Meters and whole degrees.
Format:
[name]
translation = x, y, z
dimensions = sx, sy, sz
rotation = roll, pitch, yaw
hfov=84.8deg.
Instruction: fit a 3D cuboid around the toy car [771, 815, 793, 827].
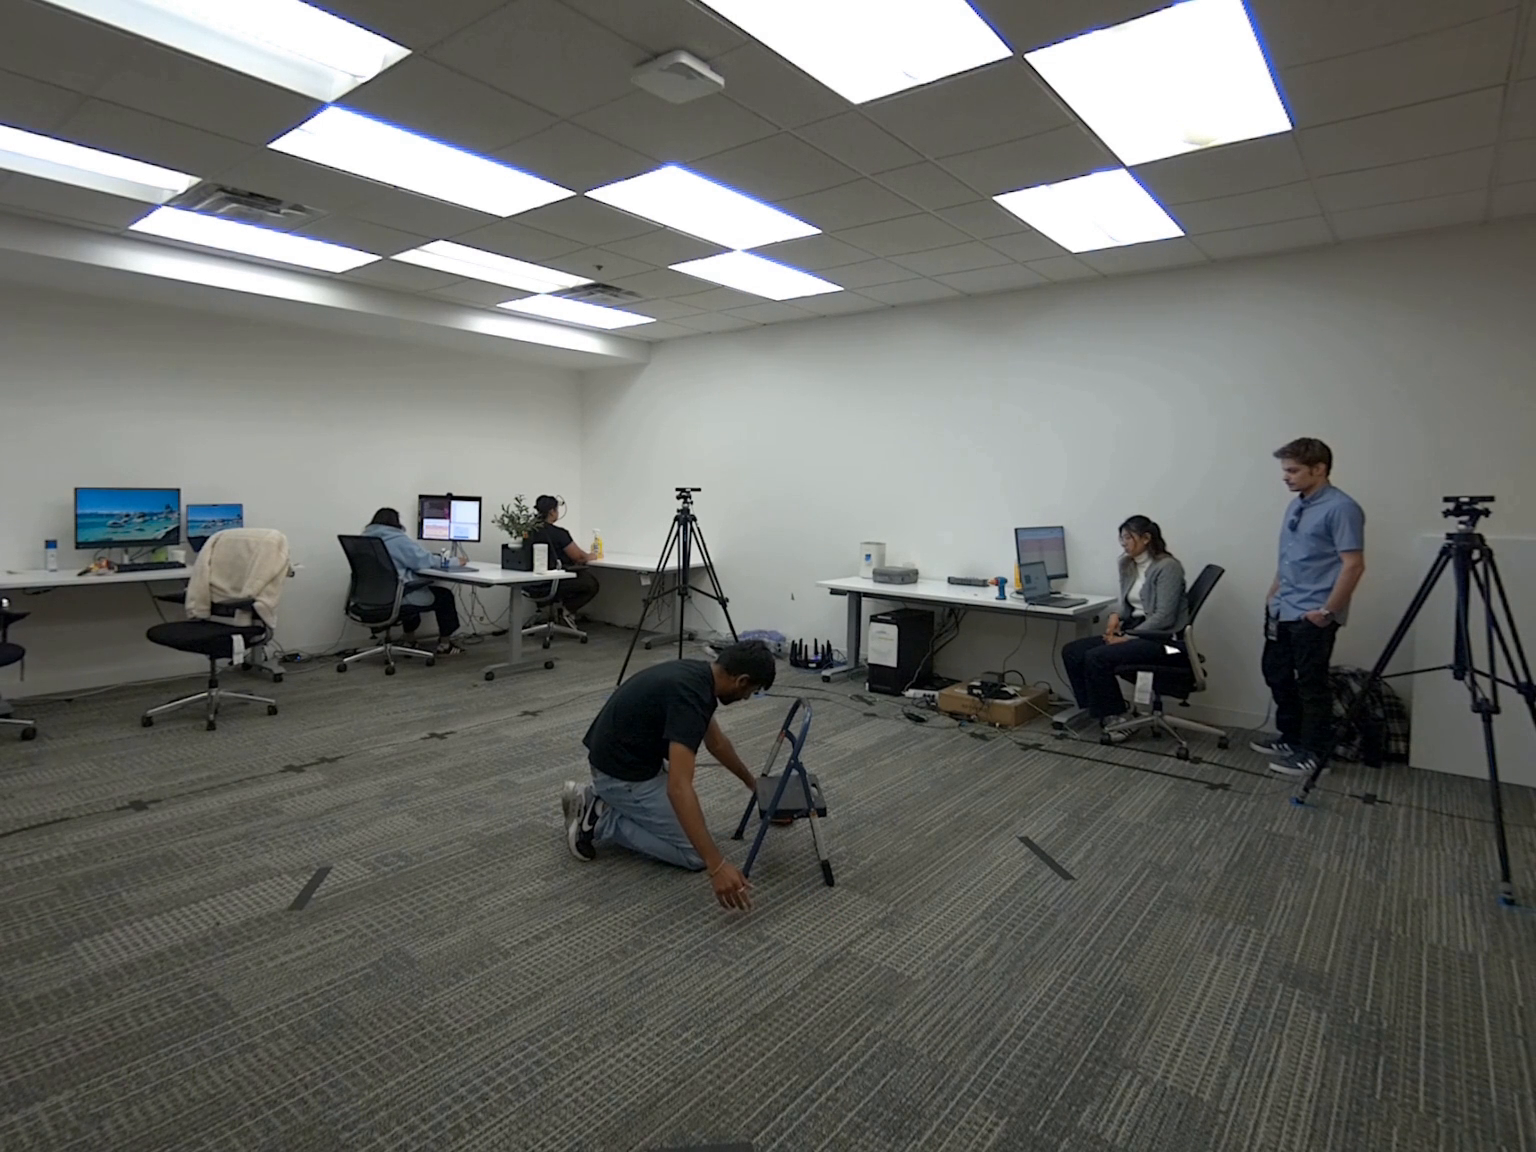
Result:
[toy car]
translation = 0.051, 0.988, 3.614
dimensions = 0.131, 0.084, 0.252
rotation = 1, -6, 2
